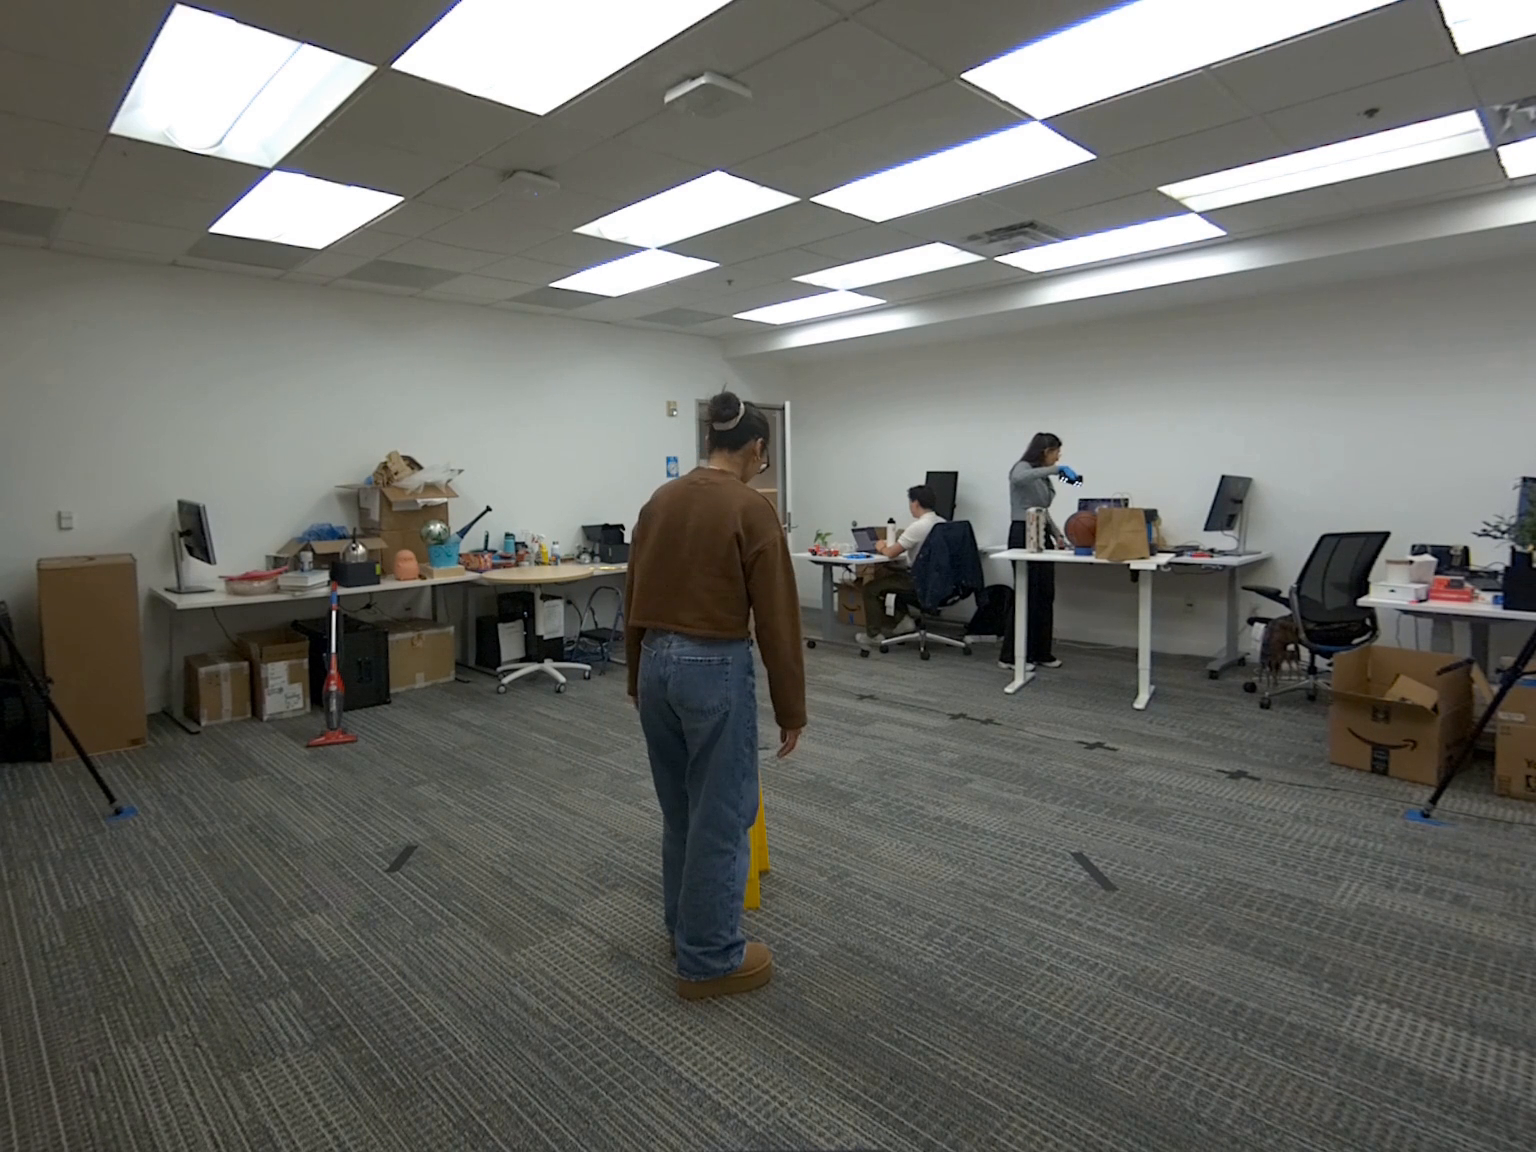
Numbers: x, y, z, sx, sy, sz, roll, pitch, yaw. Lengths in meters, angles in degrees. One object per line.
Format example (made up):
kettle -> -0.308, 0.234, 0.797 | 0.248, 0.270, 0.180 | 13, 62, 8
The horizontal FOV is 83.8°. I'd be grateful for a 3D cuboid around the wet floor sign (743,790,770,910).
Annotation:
wet floor sign -> -0.138, 0.751, 2.909 | 0.285, 0.644, 0.288 | 0, 4, 9
